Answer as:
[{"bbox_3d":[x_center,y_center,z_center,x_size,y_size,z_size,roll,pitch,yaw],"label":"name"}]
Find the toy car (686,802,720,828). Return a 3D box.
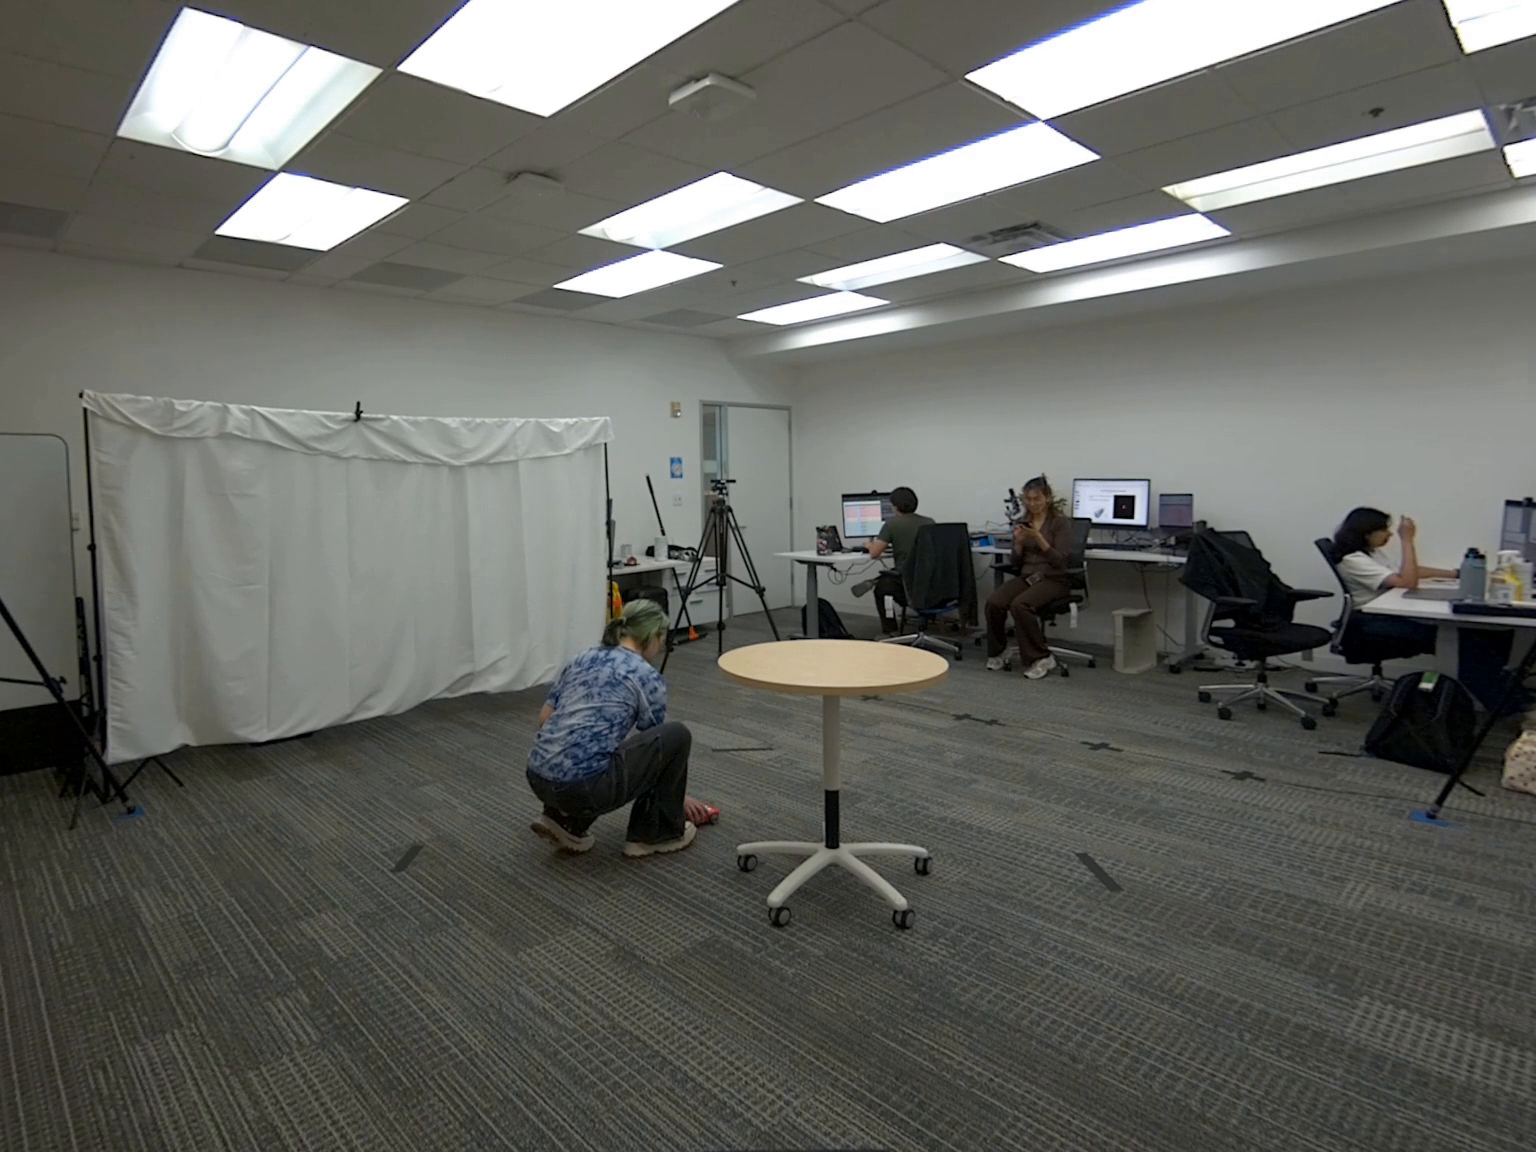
[{"bbox_3d":[-0.324,0.970,3.470,0.247,0.083,0.134,7,1,-30],"label":"toy car"}]
